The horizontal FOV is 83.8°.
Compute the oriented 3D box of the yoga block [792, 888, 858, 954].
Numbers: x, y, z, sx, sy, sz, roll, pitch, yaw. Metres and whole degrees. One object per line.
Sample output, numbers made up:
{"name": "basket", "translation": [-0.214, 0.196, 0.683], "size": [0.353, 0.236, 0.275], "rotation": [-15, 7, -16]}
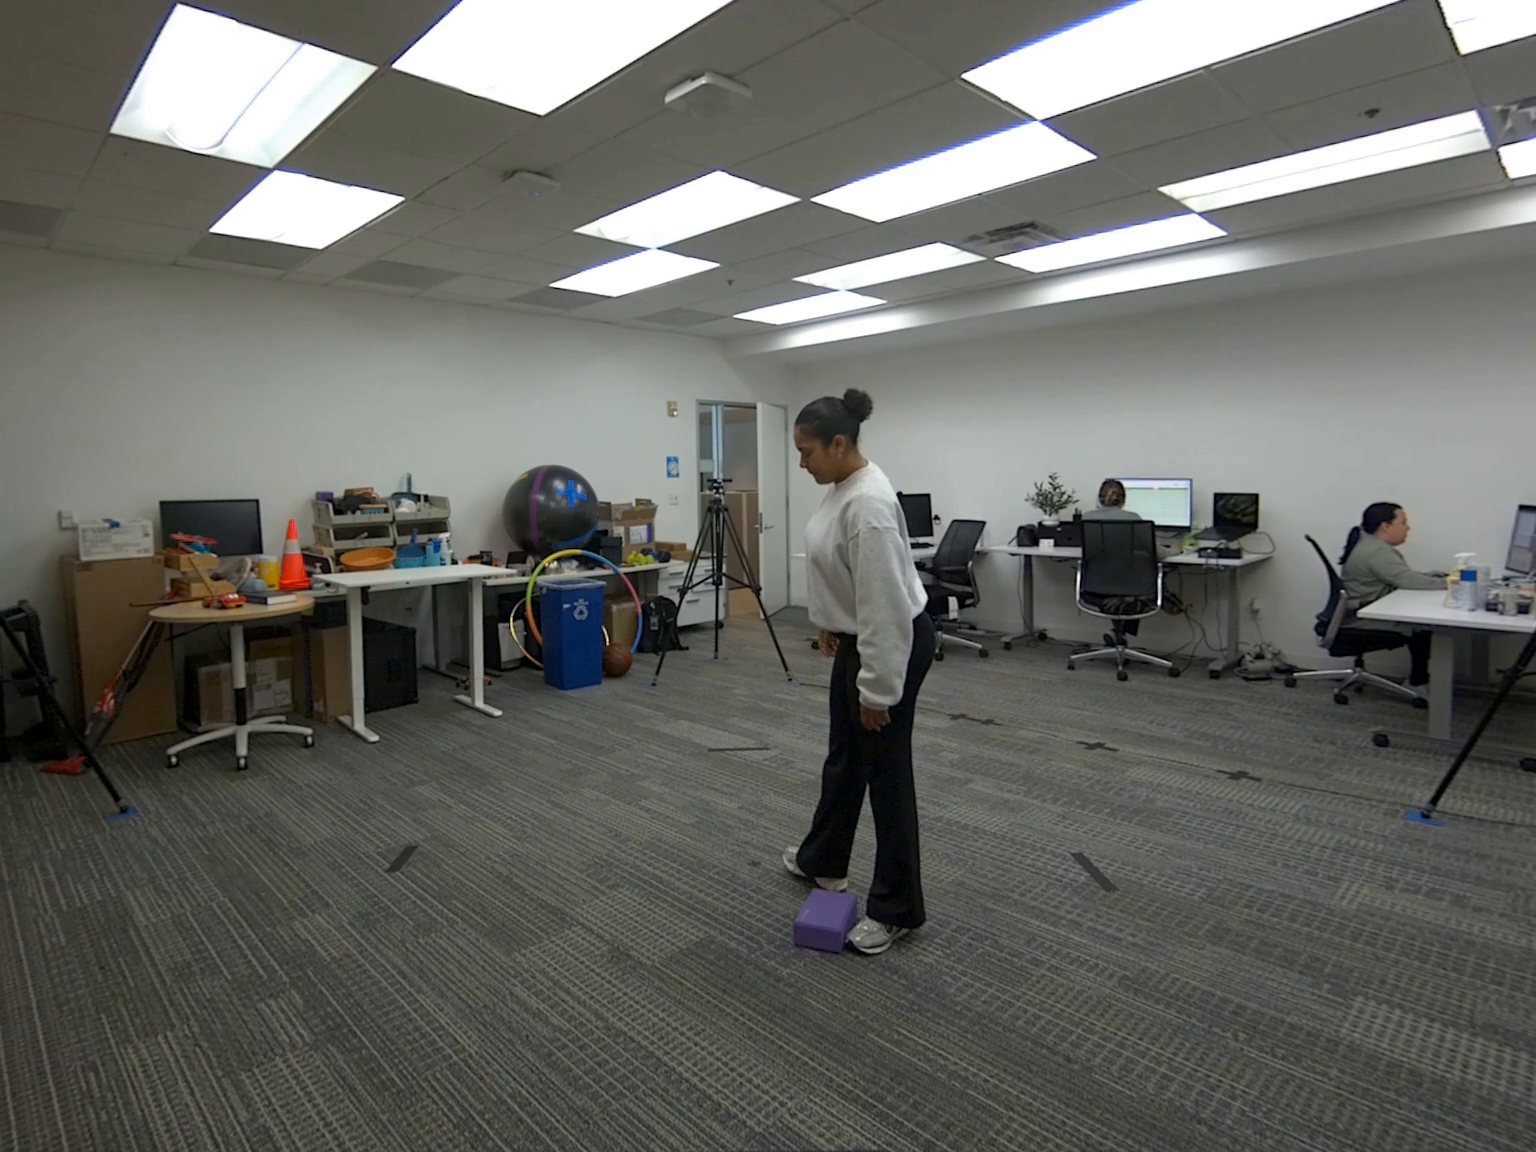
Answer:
{"name": "yoga block", "translation": [0.187, 1.057, 2.629], "size": [0.152, 0.076, 0.226], "rotation": [0, 6, 21]}
